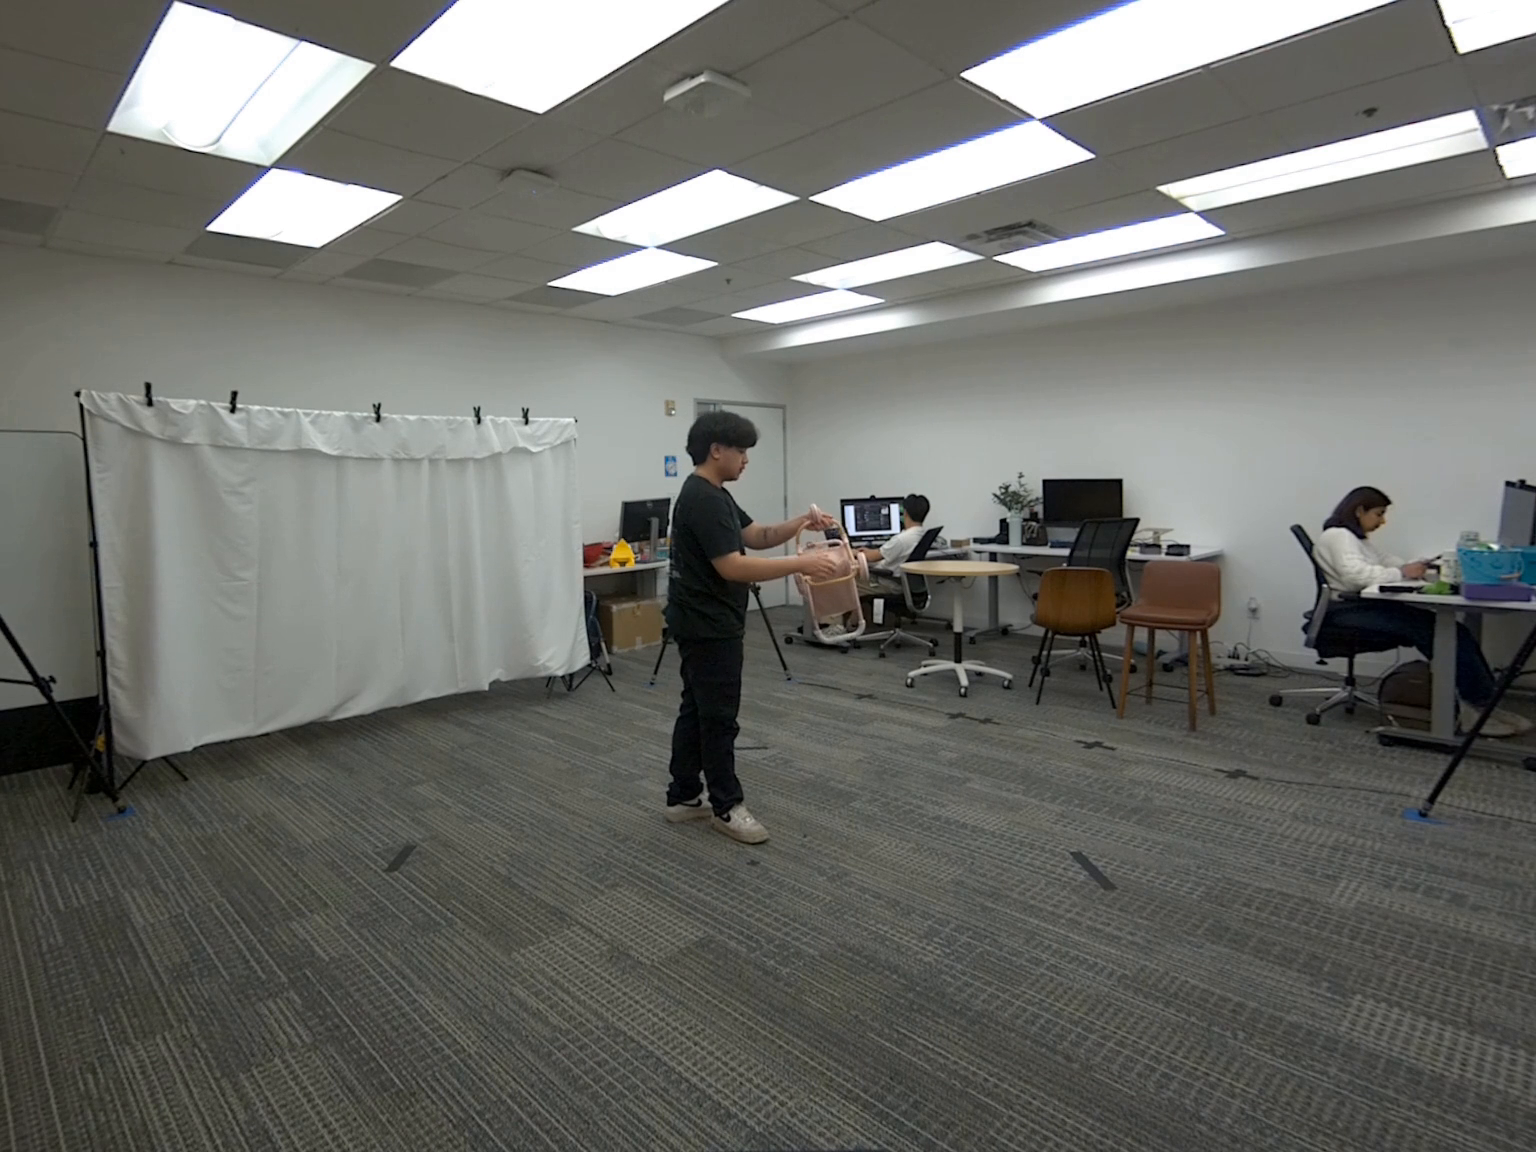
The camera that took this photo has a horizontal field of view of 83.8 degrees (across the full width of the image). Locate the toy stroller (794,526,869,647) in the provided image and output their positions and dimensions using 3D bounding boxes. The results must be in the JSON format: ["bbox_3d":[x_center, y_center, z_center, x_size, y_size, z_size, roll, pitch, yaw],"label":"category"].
[{"bbox_3d":[0.233,-0.006,3.449,0.281,0.353,0.517,-17,-37,-2],"label":"toy stroller"}]
